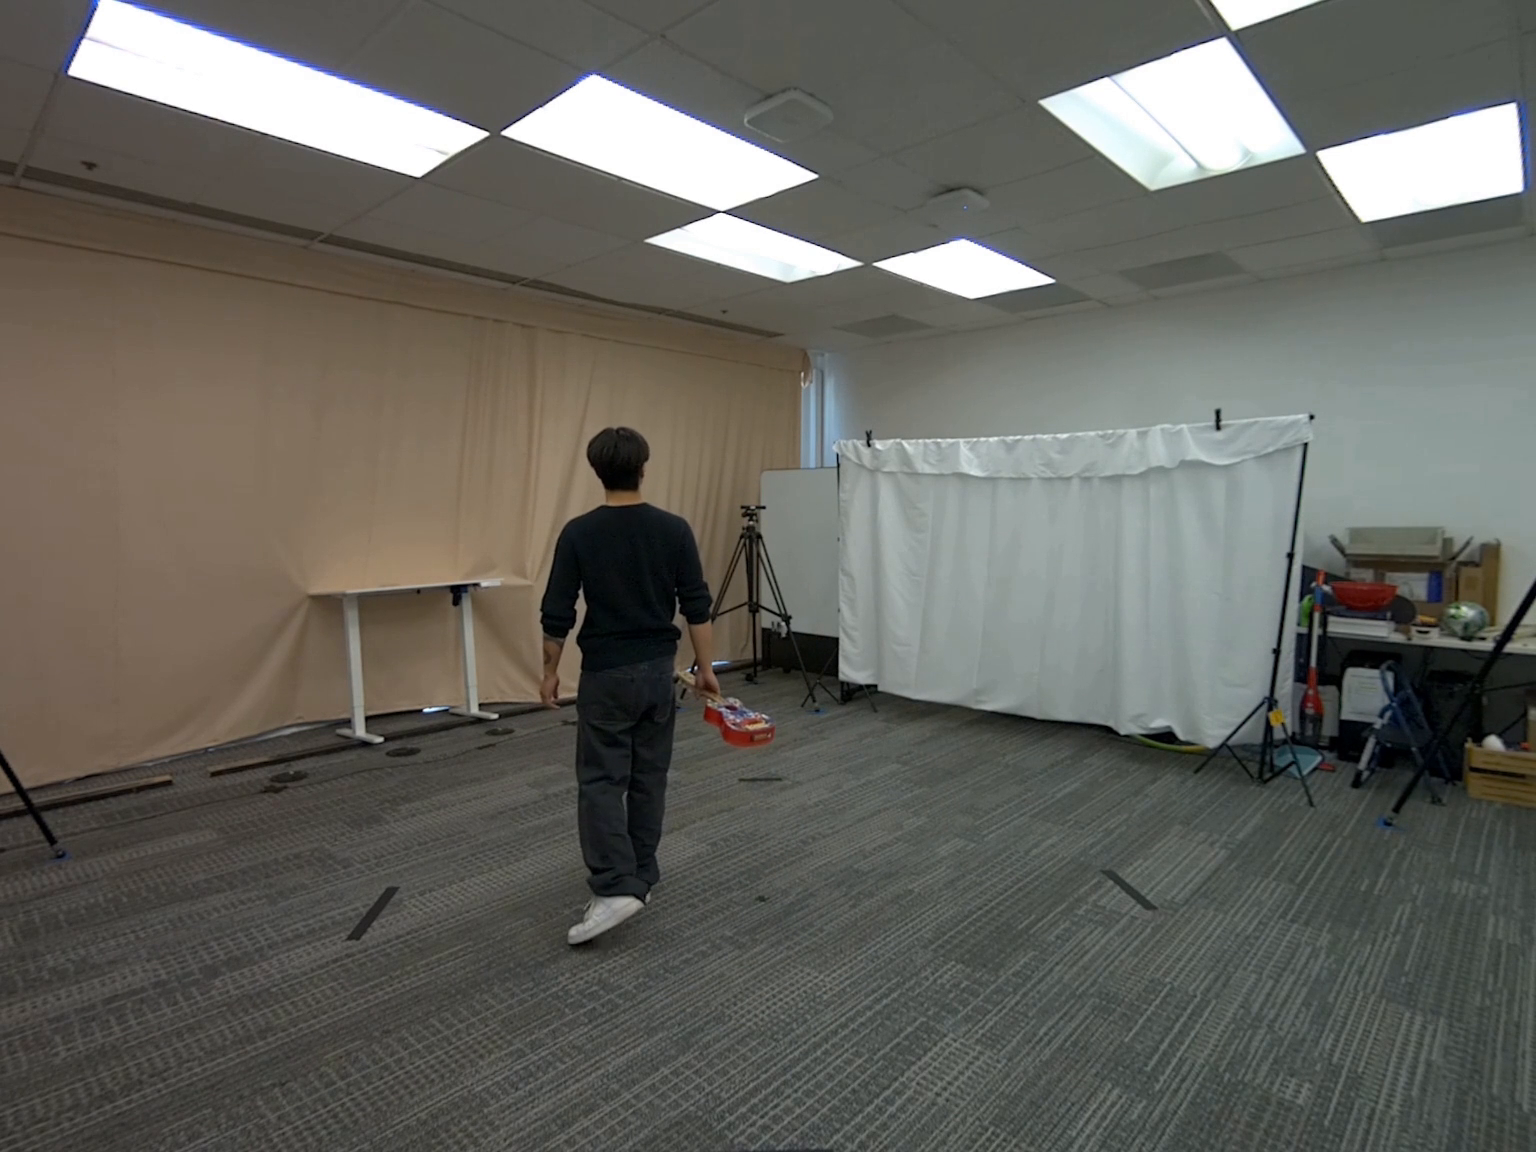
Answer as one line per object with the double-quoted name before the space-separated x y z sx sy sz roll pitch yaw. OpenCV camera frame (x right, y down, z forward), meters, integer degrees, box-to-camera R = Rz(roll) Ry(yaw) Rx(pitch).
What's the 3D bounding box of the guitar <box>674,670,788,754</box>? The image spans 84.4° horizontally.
"guitar" -0.156 0.471 3.023 0.187 0.070 0.515 1 17 -33
